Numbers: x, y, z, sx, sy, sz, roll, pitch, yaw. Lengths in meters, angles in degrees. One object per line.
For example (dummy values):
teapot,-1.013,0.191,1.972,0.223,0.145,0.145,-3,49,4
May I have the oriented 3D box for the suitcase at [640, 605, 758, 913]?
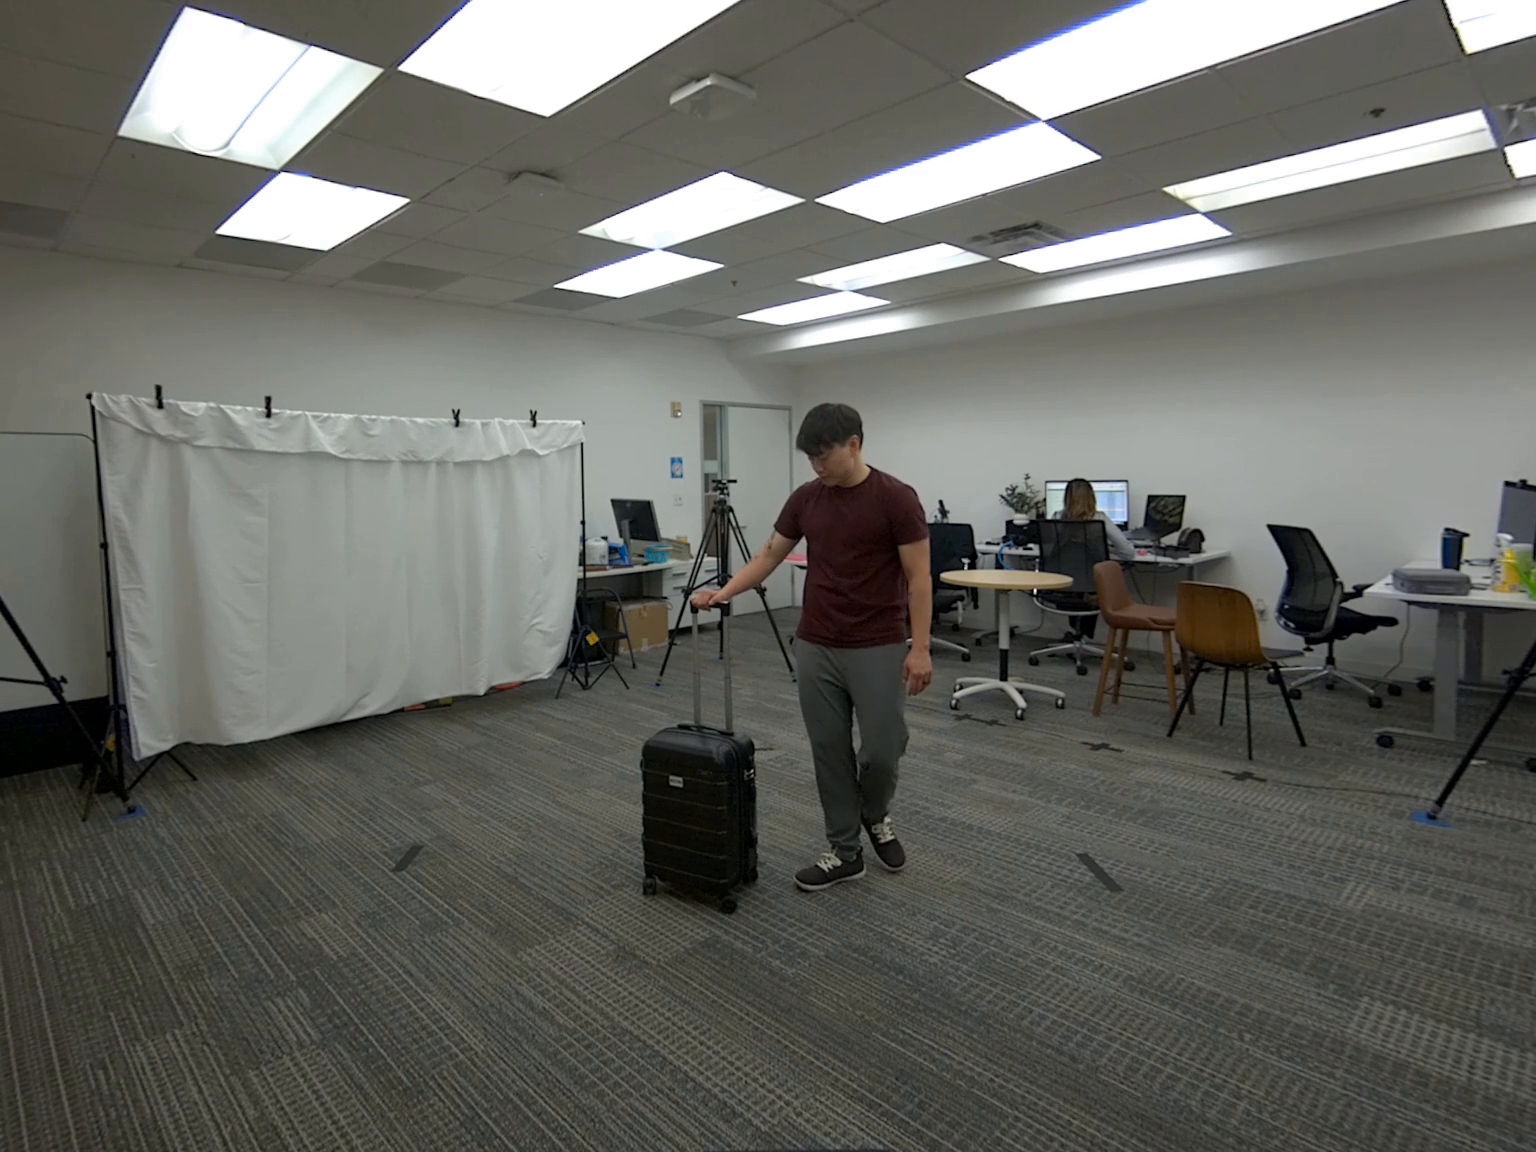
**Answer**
suitcase,-0.235,0.601,2.891,0.393,0.973,0.252,1,6,25
